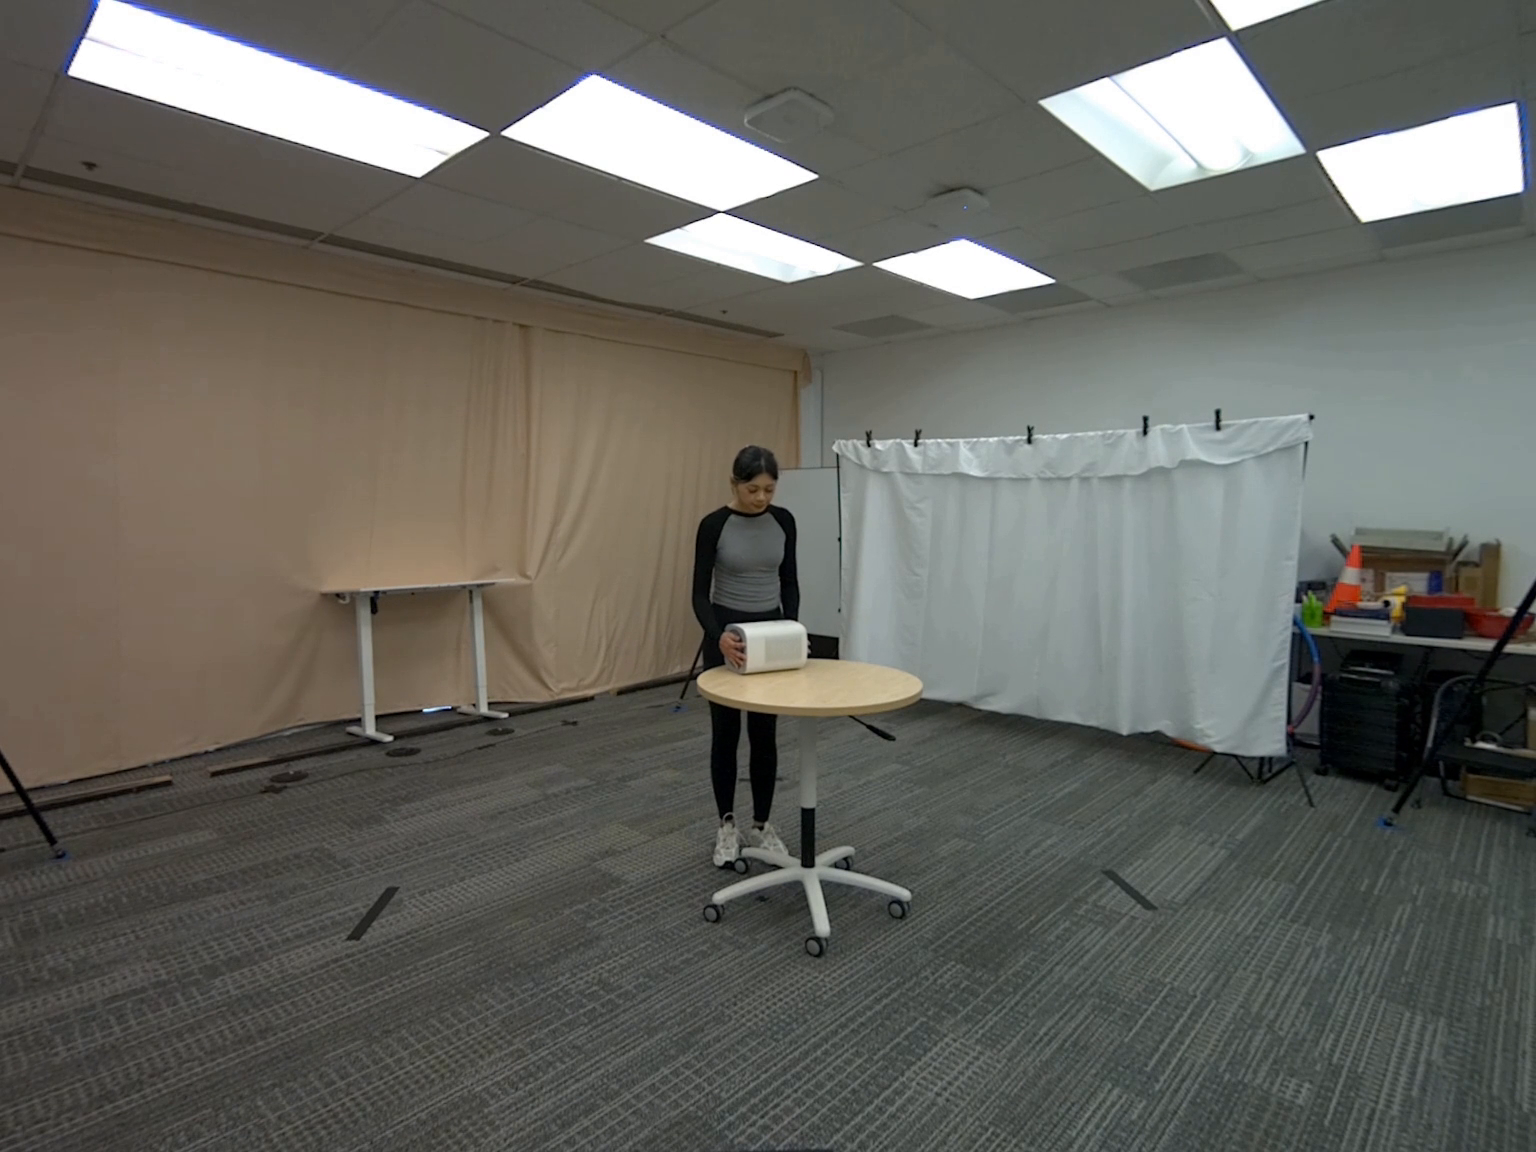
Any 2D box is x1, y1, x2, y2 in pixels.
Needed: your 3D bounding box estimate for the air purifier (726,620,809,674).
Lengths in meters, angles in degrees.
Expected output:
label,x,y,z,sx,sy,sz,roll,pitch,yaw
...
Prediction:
label,x,y,z,sx,sy,sz,roll,pitch,yaw
air purifier,0.002,0.254,3.065,0.258,0.171,0.176,-2,3,-28
